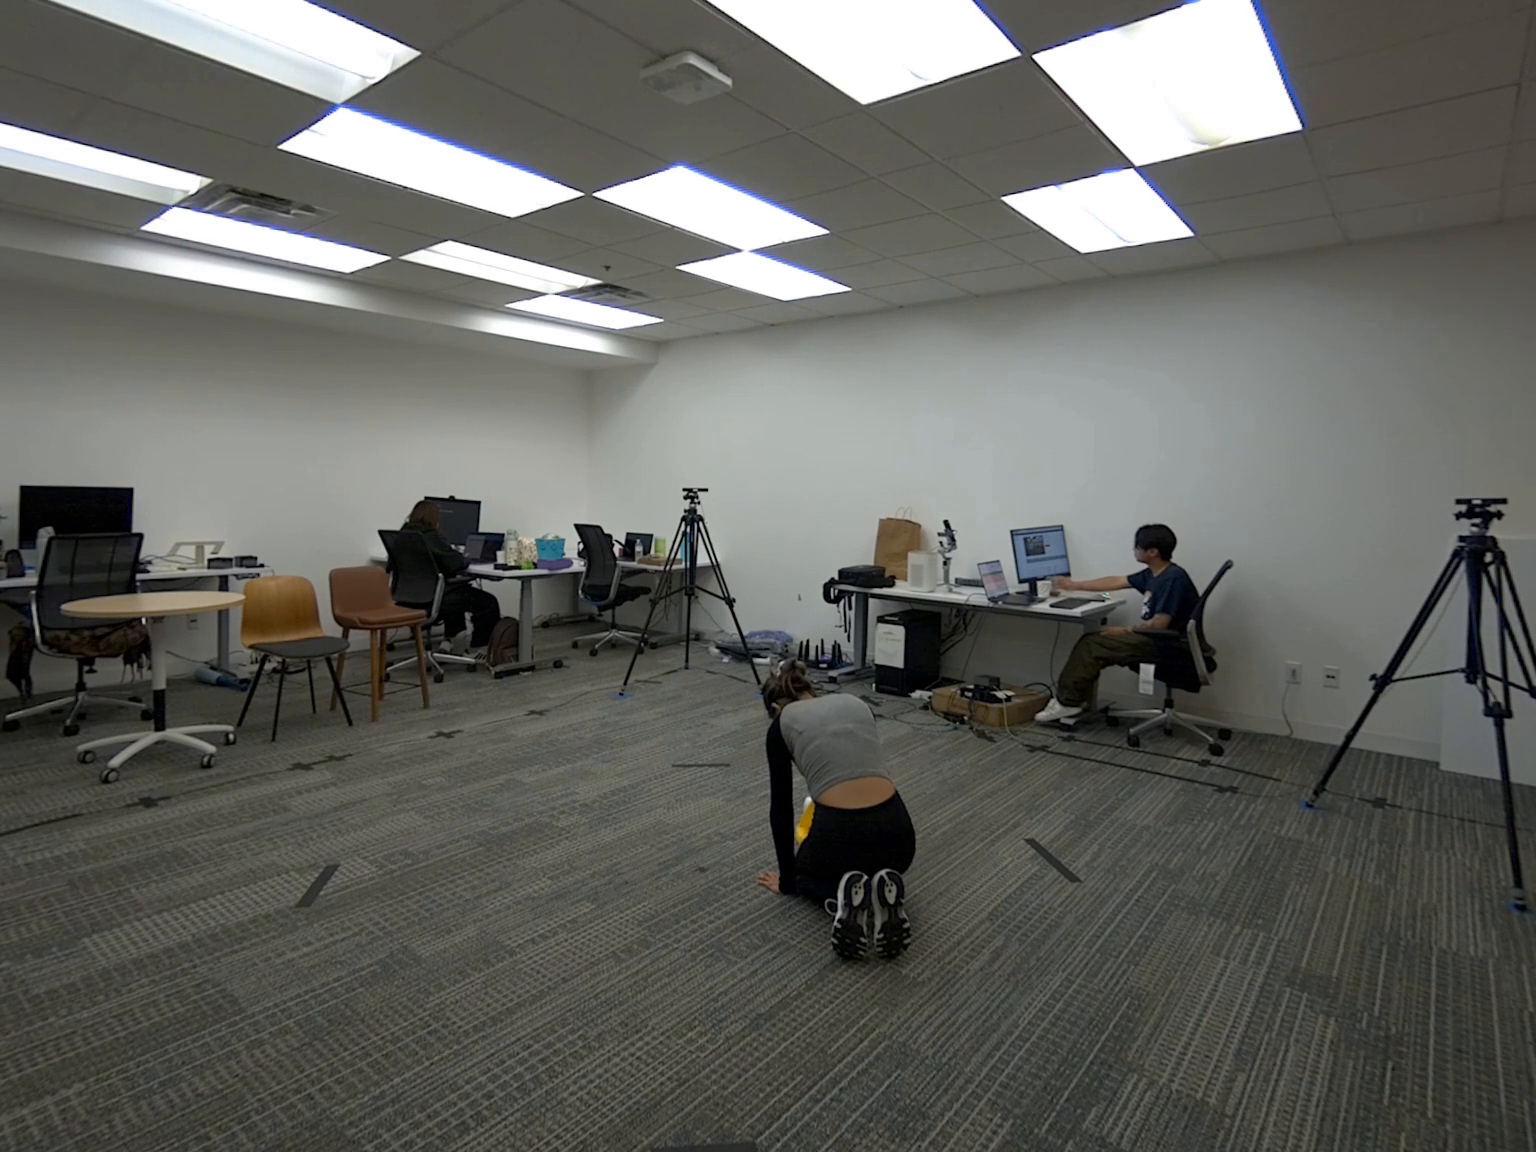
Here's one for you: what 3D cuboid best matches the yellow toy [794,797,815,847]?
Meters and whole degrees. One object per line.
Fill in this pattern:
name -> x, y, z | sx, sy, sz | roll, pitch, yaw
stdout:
yellow toy -> 0.209, 0.930, 3.396 | 0.205, 0.230, 0.193 | 1, 5, 1
